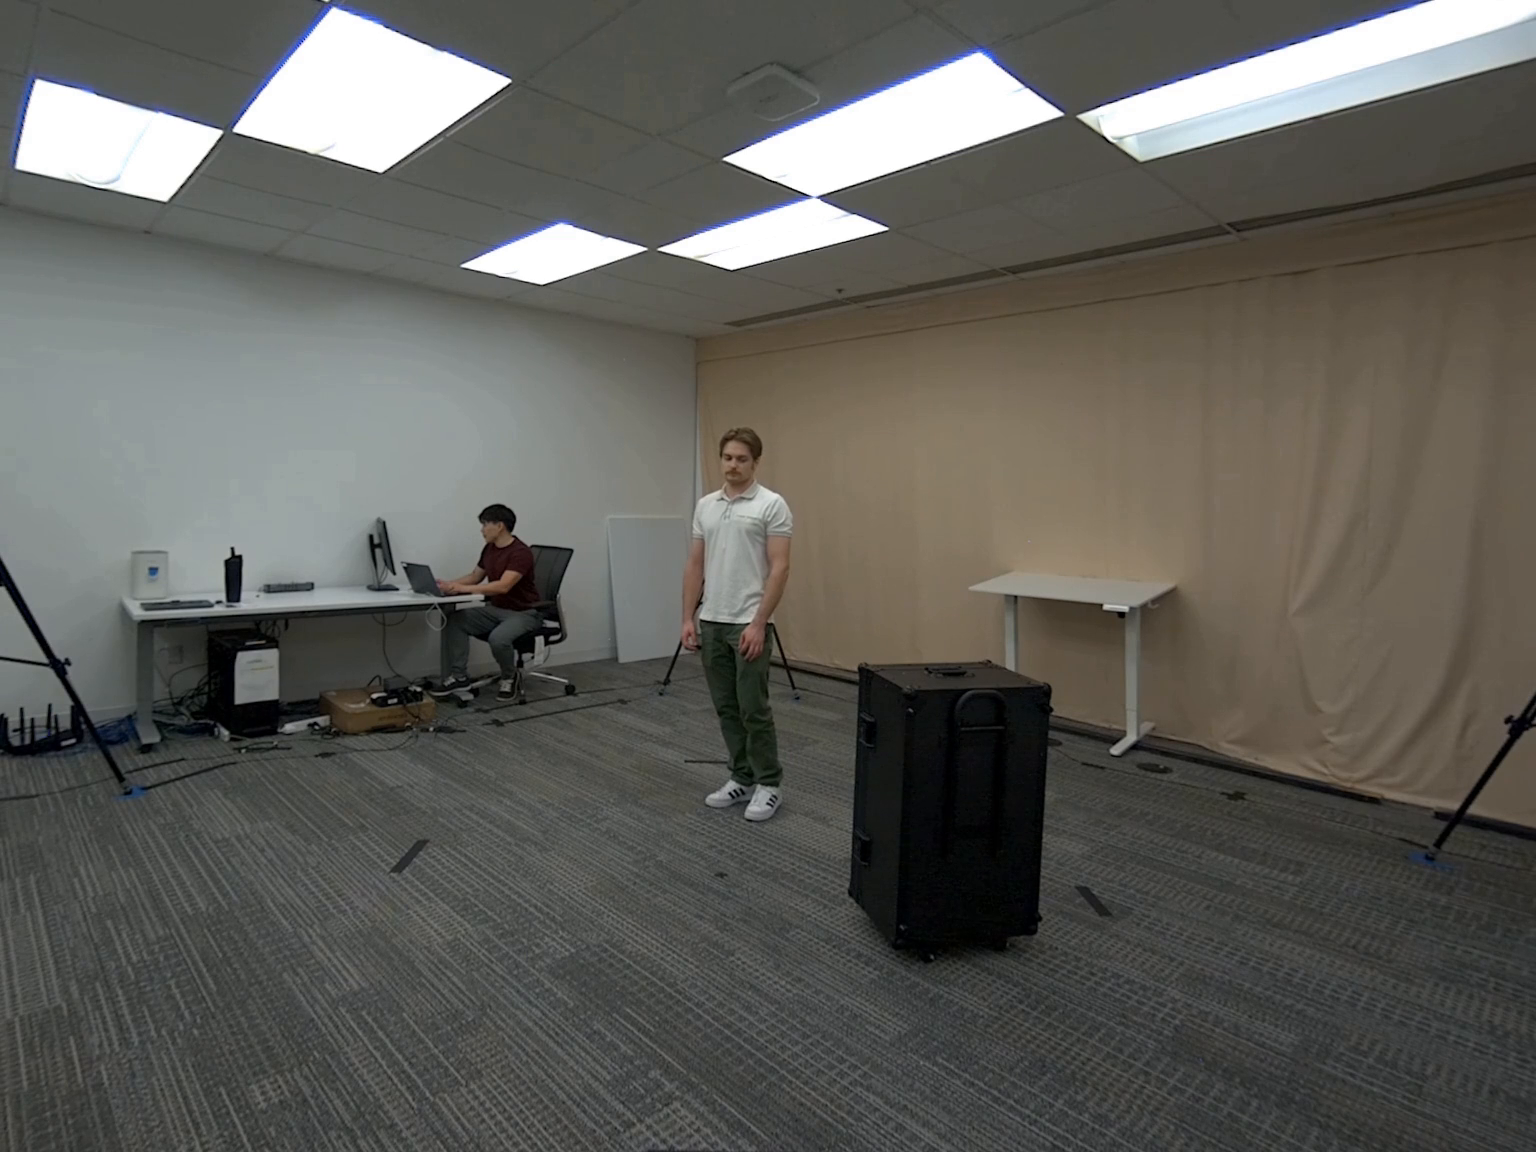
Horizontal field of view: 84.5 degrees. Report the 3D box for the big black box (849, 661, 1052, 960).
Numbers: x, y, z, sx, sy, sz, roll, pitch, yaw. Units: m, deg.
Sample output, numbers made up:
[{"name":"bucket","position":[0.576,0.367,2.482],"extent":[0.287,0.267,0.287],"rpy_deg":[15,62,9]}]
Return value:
[{"name":"big black box","position":[0.566,0.740,2.681],"extent":[0.517,0.866,0.391],"rpy_deg":[1,4,-15]}]
